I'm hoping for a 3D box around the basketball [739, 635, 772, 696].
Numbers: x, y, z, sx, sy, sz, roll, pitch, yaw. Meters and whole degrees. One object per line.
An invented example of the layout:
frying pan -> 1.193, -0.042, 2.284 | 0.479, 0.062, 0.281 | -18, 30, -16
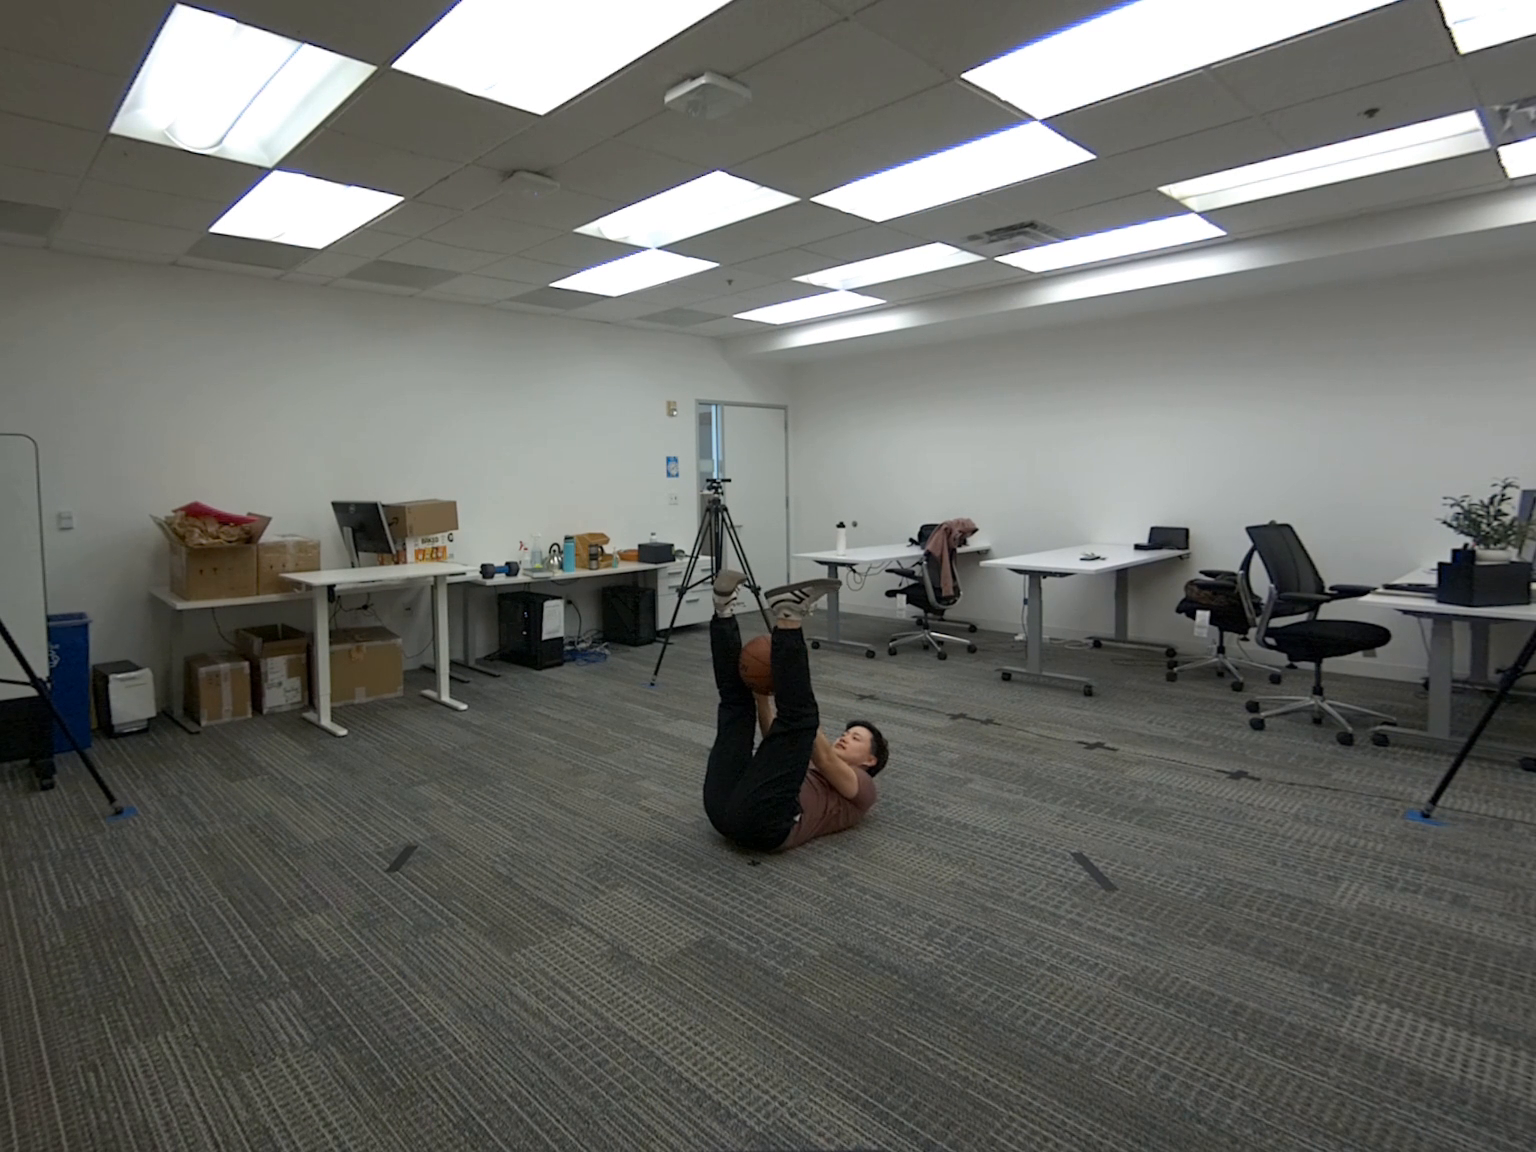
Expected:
basketball -> 0.016, 0.339, 3.296 | 0.236, 0.235, 0.237 | -2, 5, -2
